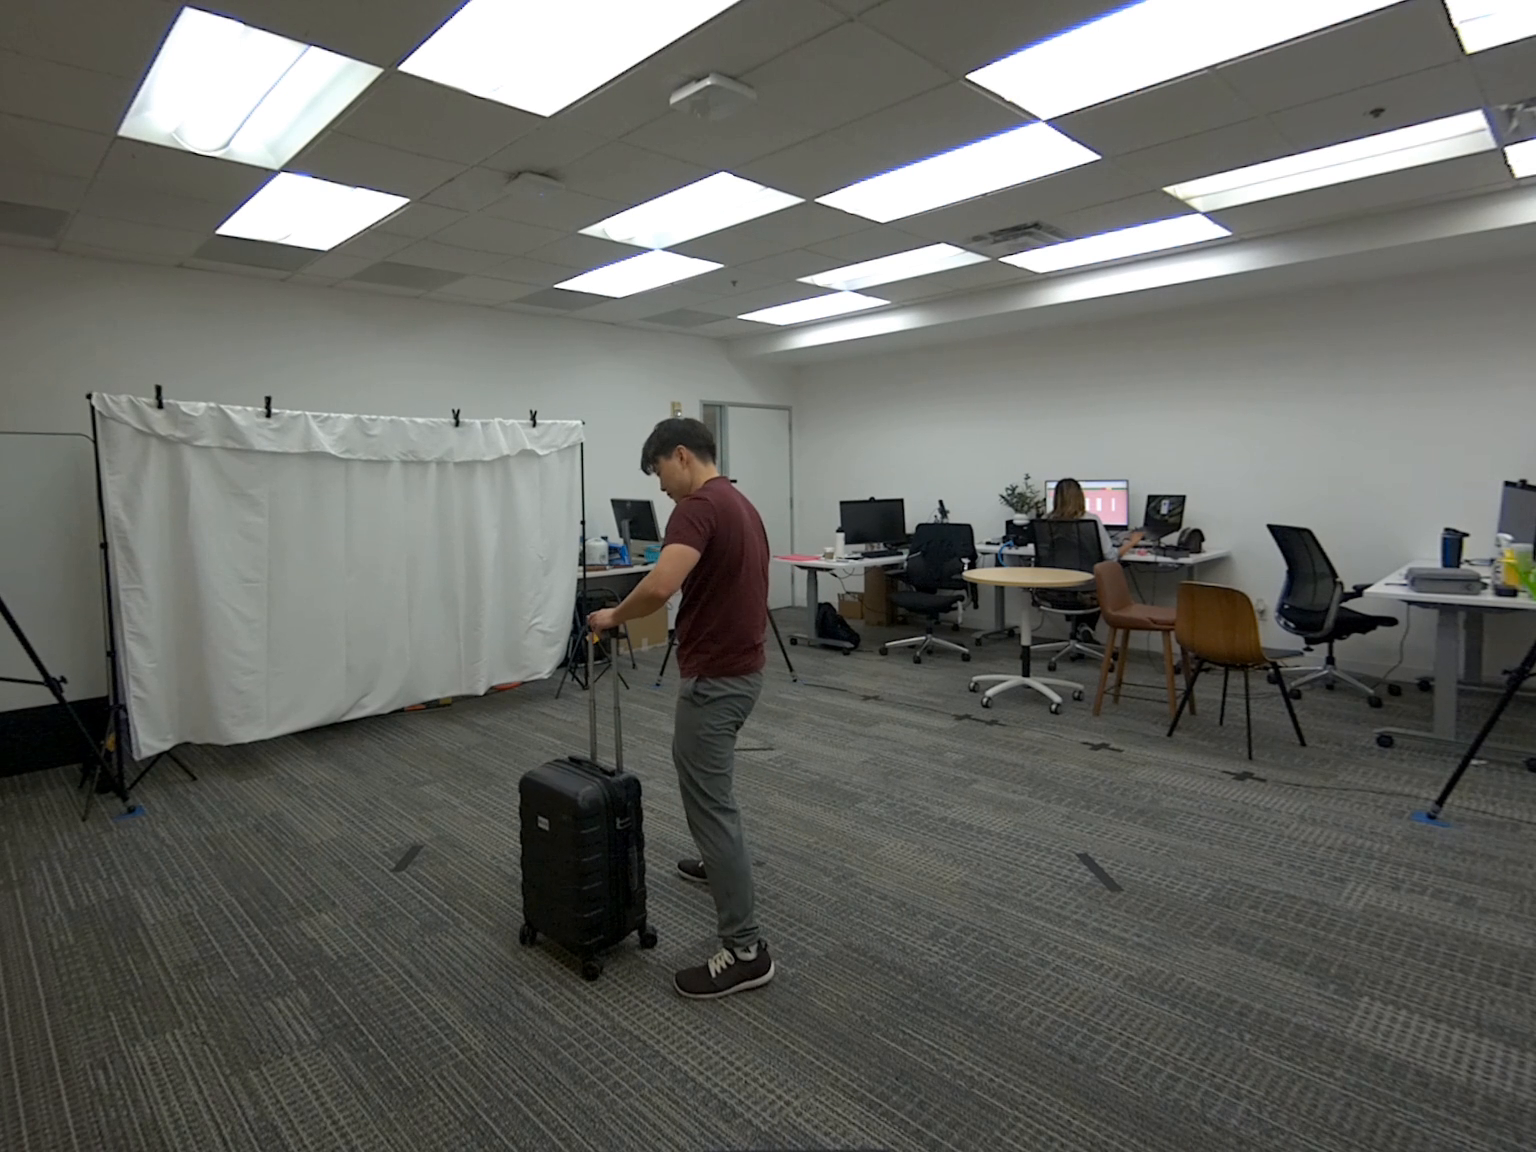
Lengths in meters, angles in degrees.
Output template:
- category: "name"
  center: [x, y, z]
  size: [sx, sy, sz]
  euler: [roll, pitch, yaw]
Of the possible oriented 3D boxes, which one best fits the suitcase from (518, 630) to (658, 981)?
- category: "suitcase"
  center: [-0.567, 0.638, 2.571]
  size: [0.395, 0.975, 0.250]
  euler: [2, 5, 42]
